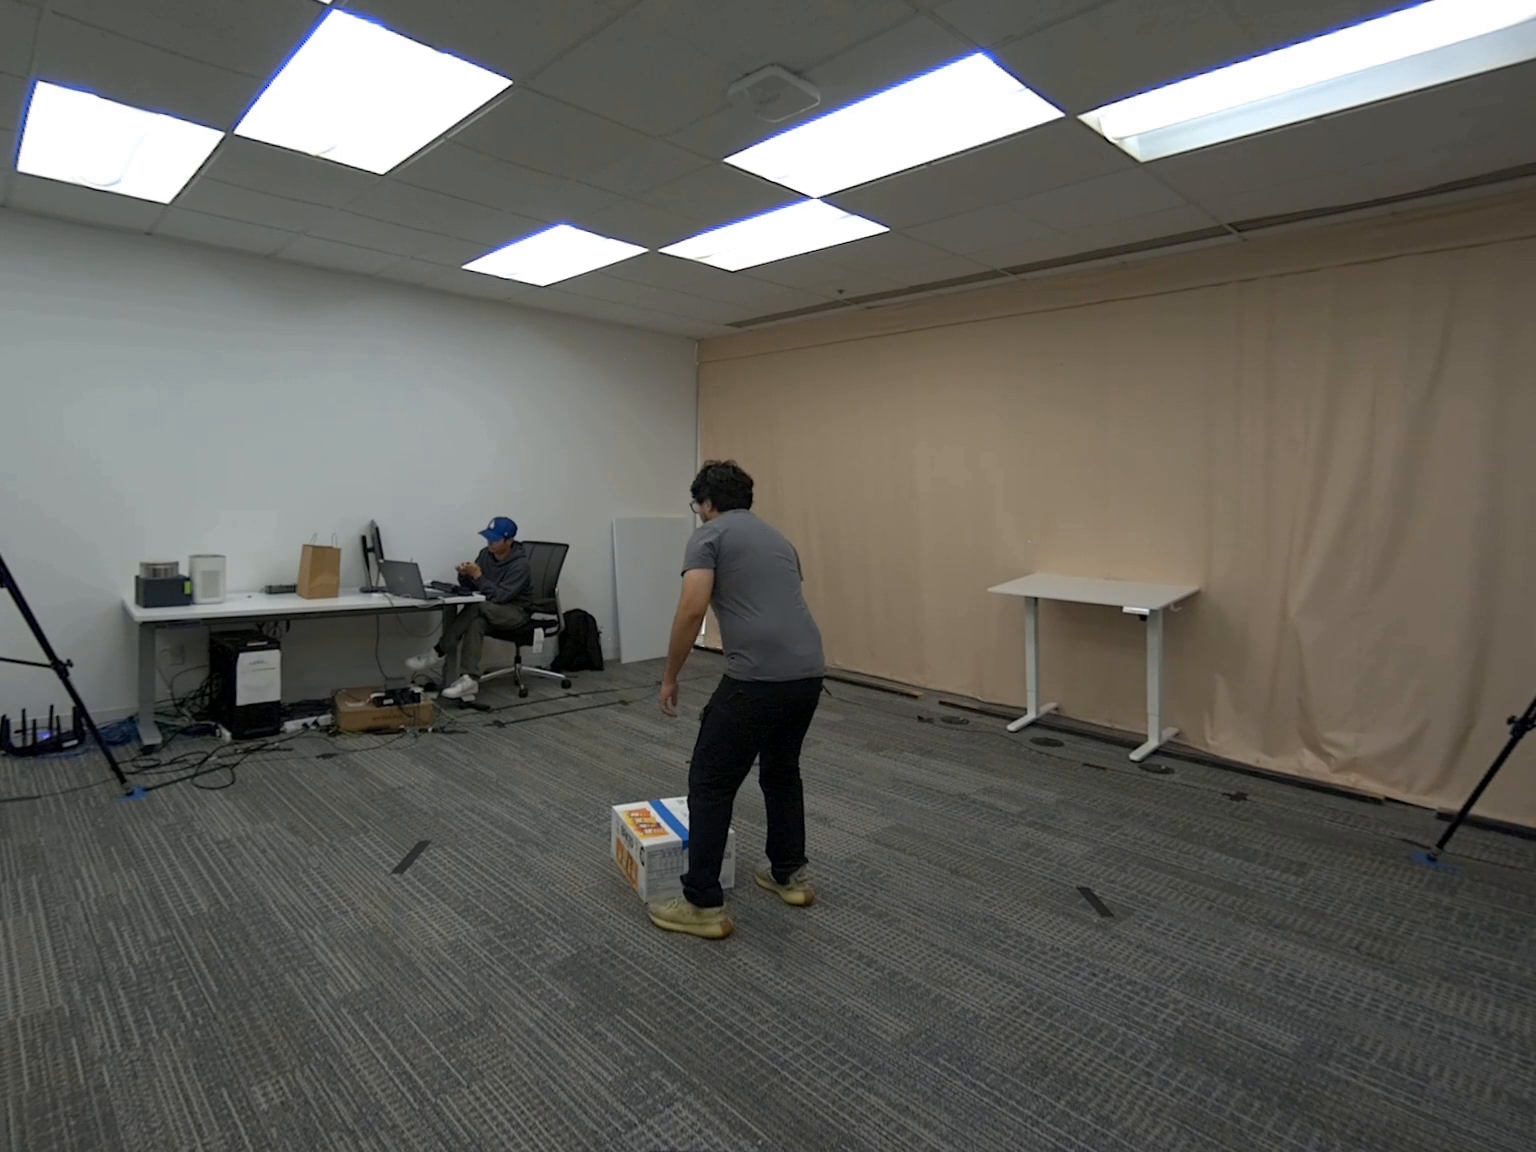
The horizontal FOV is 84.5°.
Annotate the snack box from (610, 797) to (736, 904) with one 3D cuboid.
[{"bbox_3d":[-0.371,1.002,3.115,0.334,0.205,0.413,-1,5,-25],"label":"snack box"}]
